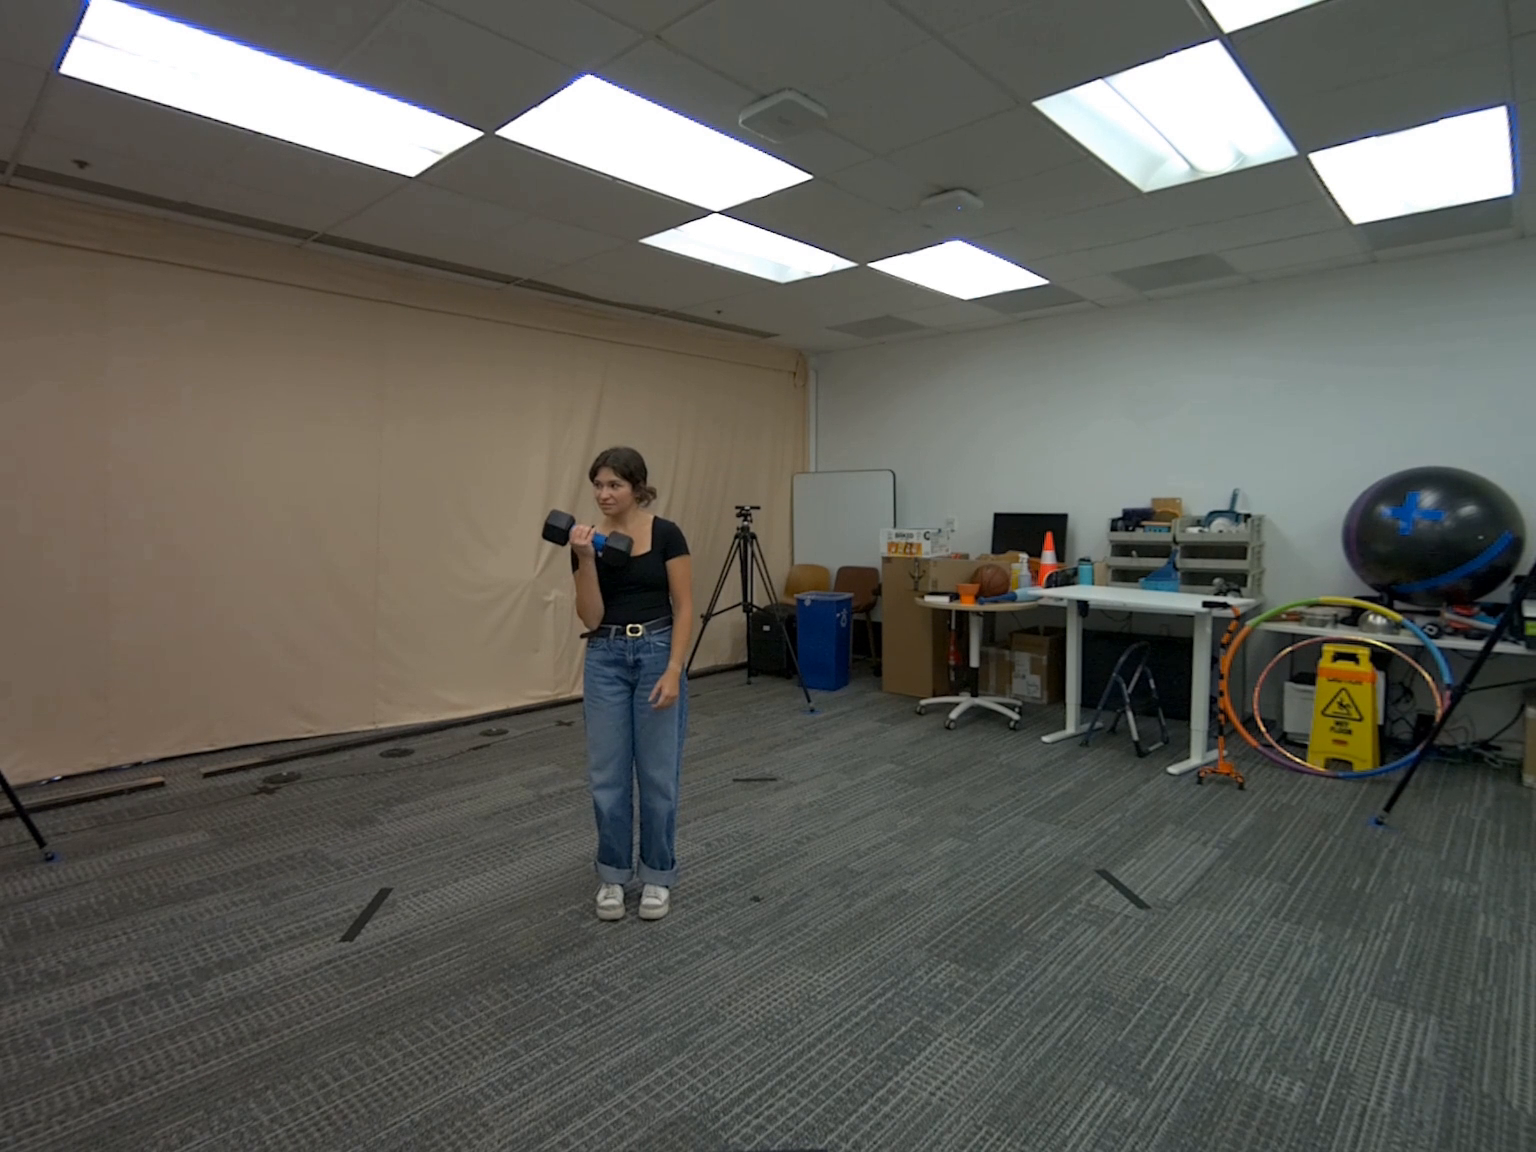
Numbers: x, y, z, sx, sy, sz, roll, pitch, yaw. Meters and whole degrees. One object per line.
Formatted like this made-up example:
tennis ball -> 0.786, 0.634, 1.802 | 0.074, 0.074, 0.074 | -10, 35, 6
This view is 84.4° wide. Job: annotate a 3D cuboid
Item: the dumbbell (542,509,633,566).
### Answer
dumbbell -> -0.599, -0.122, 2.796 | 0.293, 0.122, 0.109 | 22, 25, 0
